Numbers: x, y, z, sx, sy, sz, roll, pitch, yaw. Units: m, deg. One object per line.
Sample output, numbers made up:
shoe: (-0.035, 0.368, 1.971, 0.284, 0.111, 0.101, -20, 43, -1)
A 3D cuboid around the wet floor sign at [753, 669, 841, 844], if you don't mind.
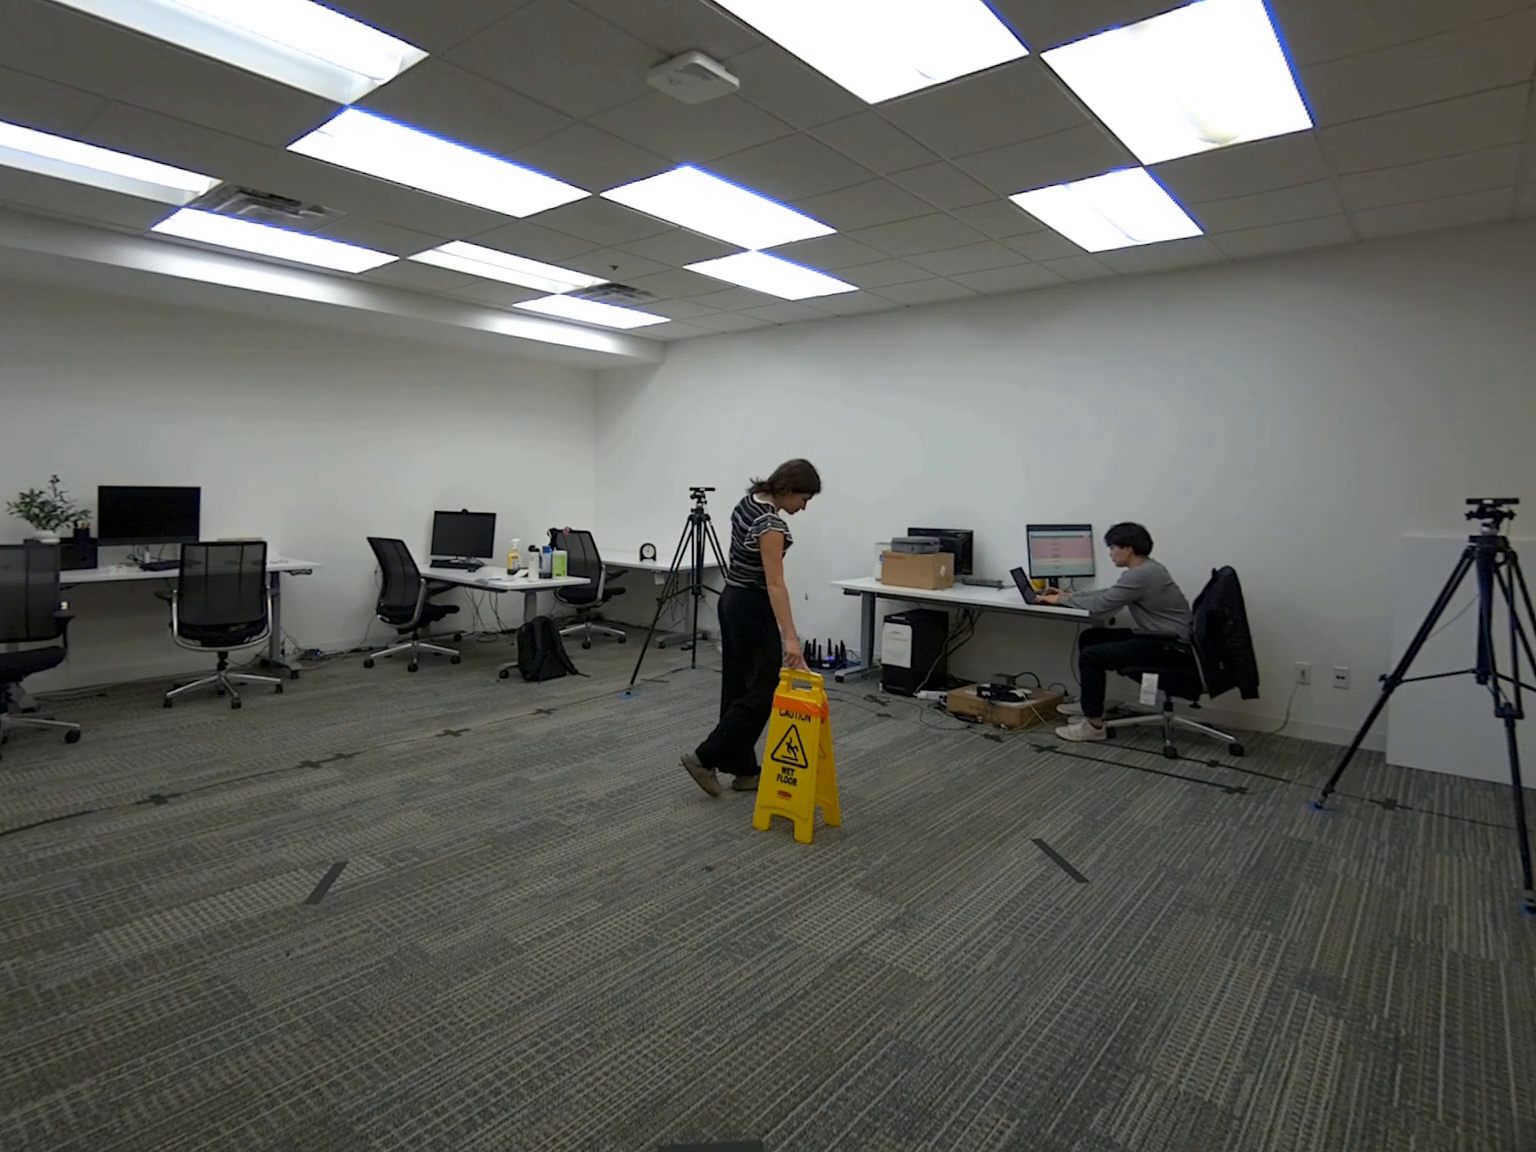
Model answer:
wet floor sign: (0.121, 0.708, 3.511, 0.291, 0.645, 0.281, 4, 3, 35)
